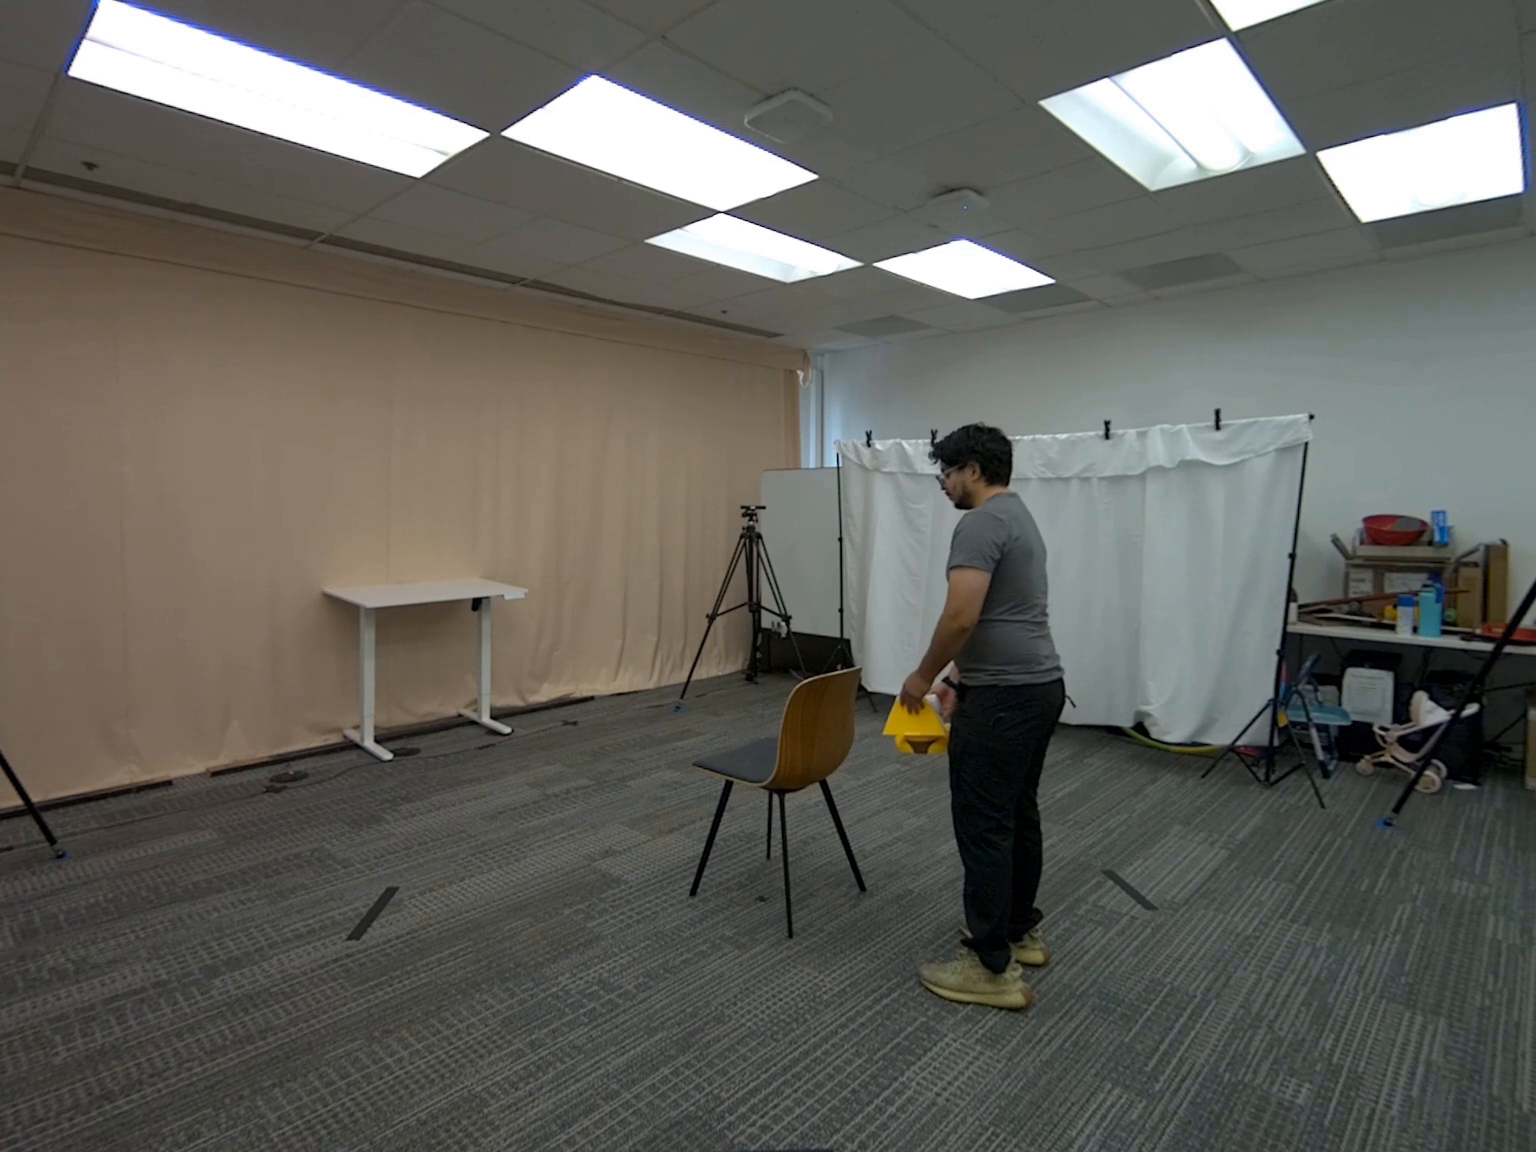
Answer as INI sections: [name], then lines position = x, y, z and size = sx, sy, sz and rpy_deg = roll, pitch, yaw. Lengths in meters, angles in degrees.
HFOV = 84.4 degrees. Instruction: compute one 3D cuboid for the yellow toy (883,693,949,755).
[yellow toy]
position = 0.496, 0.430, 2.665
size = 0.210, 0.228, 0.190
rpy_deg = -6, 16, 34
